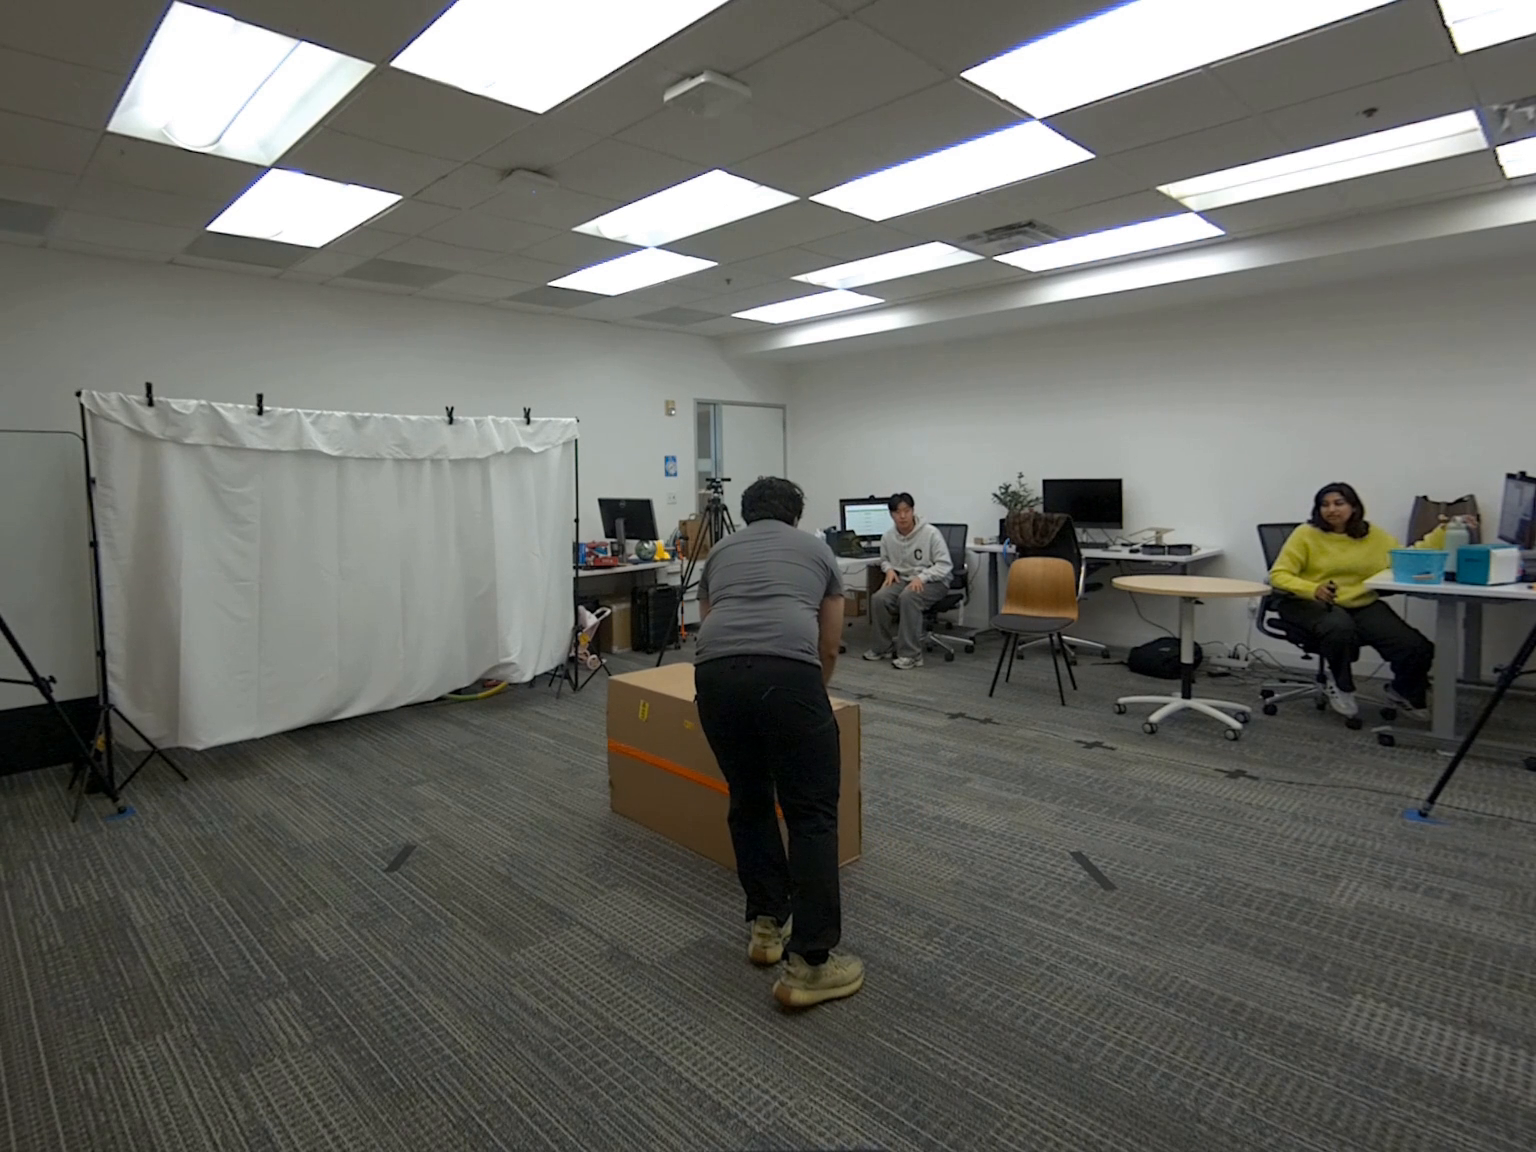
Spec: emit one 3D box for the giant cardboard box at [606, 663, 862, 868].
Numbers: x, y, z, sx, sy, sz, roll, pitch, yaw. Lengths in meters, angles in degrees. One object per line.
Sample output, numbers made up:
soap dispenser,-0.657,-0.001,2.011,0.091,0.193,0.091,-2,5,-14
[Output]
giant cardboard box,-0.169,0.732,3.365,0.415,0.575,1.058,-4,7,-42
